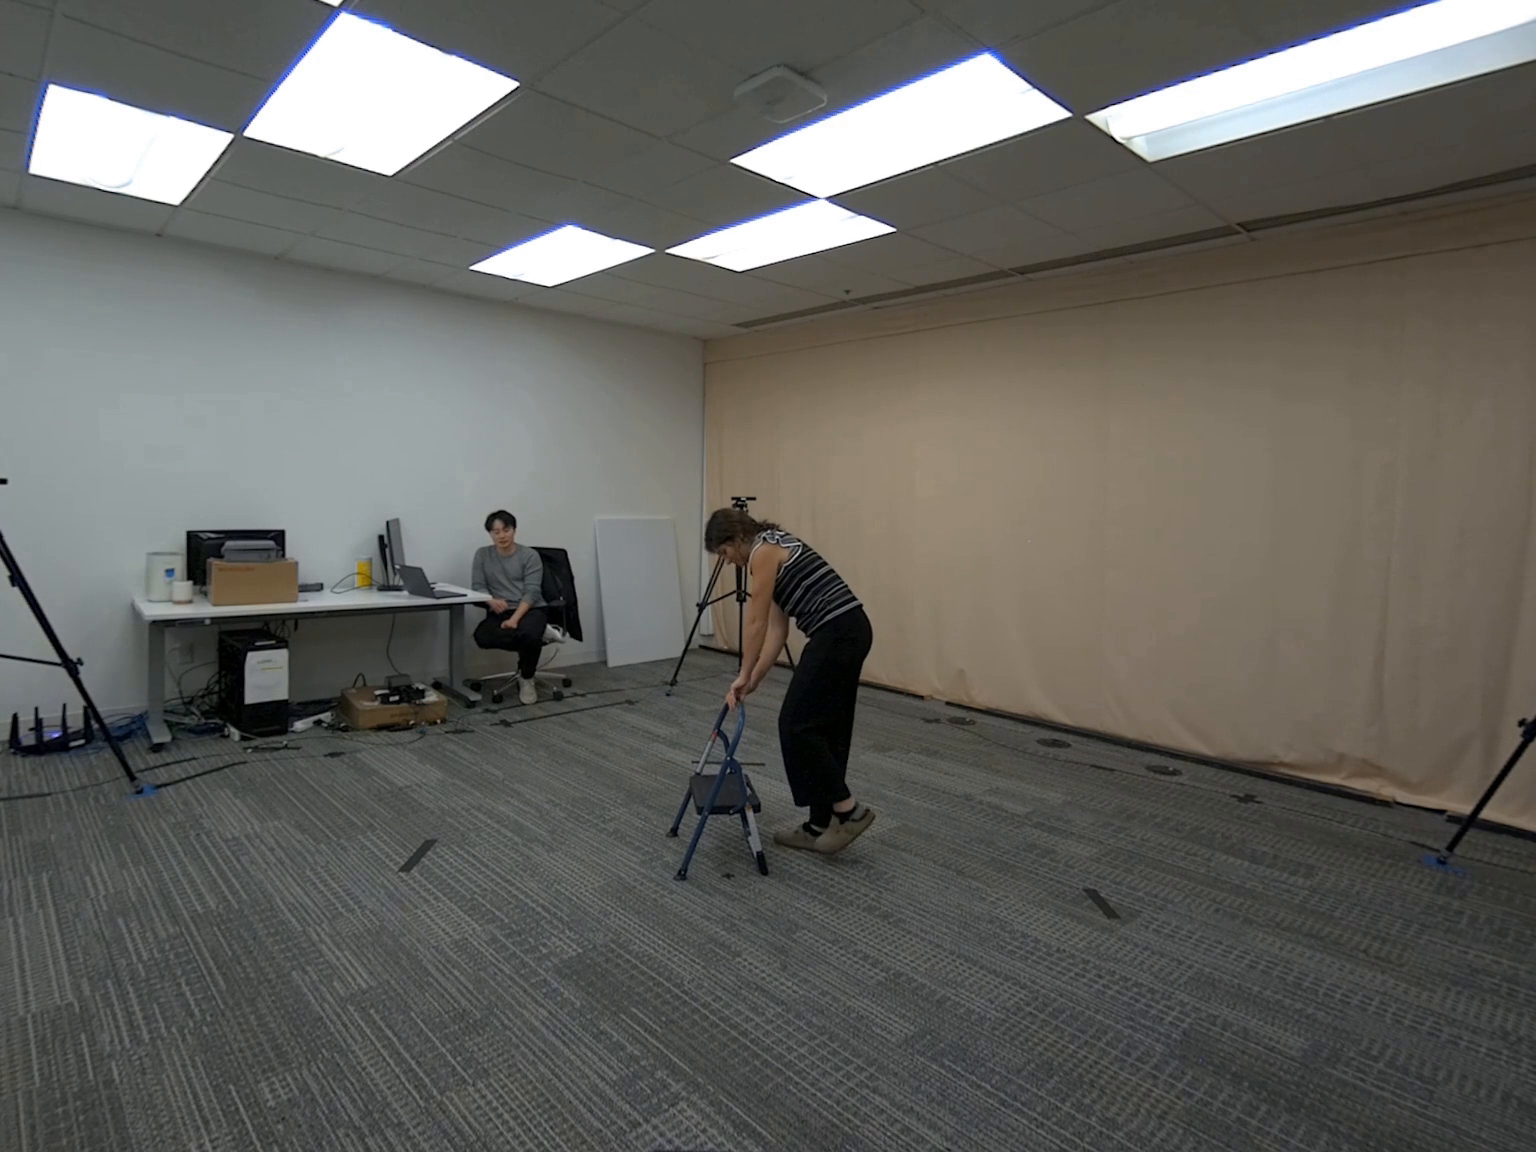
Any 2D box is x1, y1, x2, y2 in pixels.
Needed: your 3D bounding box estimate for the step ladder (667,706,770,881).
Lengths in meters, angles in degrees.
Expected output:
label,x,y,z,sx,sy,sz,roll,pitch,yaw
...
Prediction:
label,x,y,z,sx,sy,sz,roll,pitch,yaw
step ladder,-0.199,0.791,3.270,0.346,0.604,0.435,1,4,-10
